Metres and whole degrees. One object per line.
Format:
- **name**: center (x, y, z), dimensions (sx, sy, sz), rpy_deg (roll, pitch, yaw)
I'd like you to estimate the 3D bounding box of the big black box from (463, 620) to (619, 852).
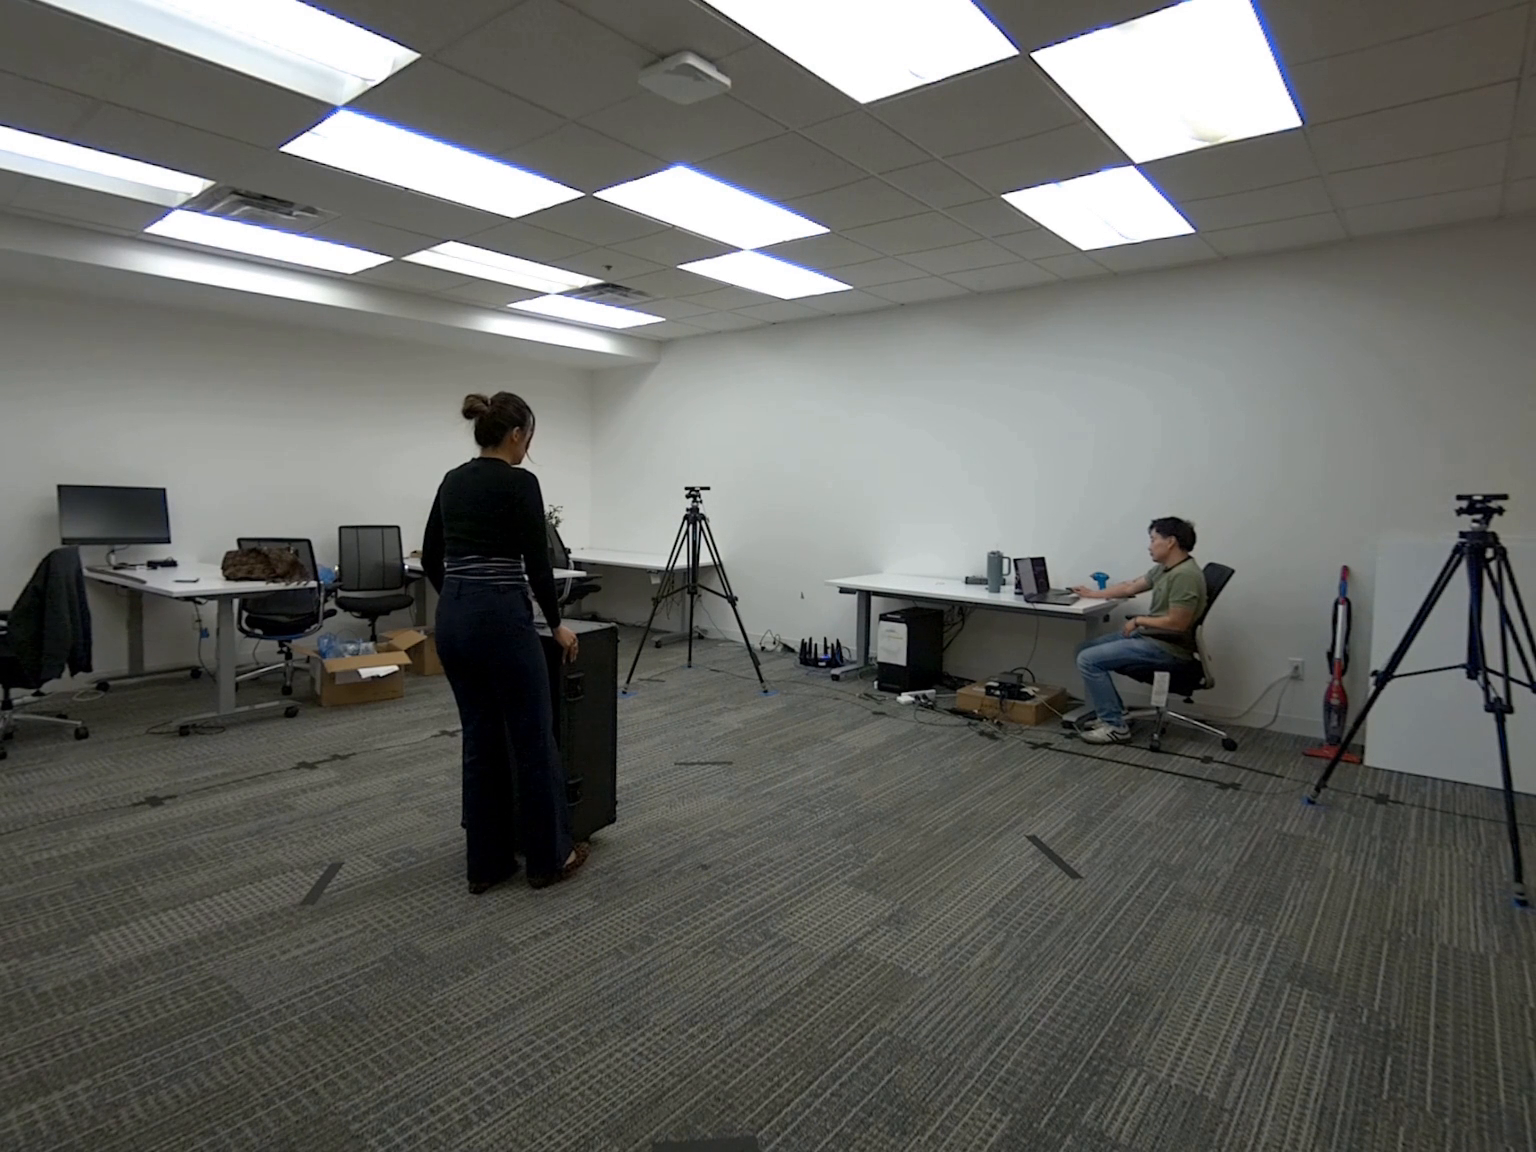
- **big black box**: center (-0.892, 0.609, 3.313), dimensions (0.536, 0.860, 0.386), rpy_deg (2, 2, 27)
